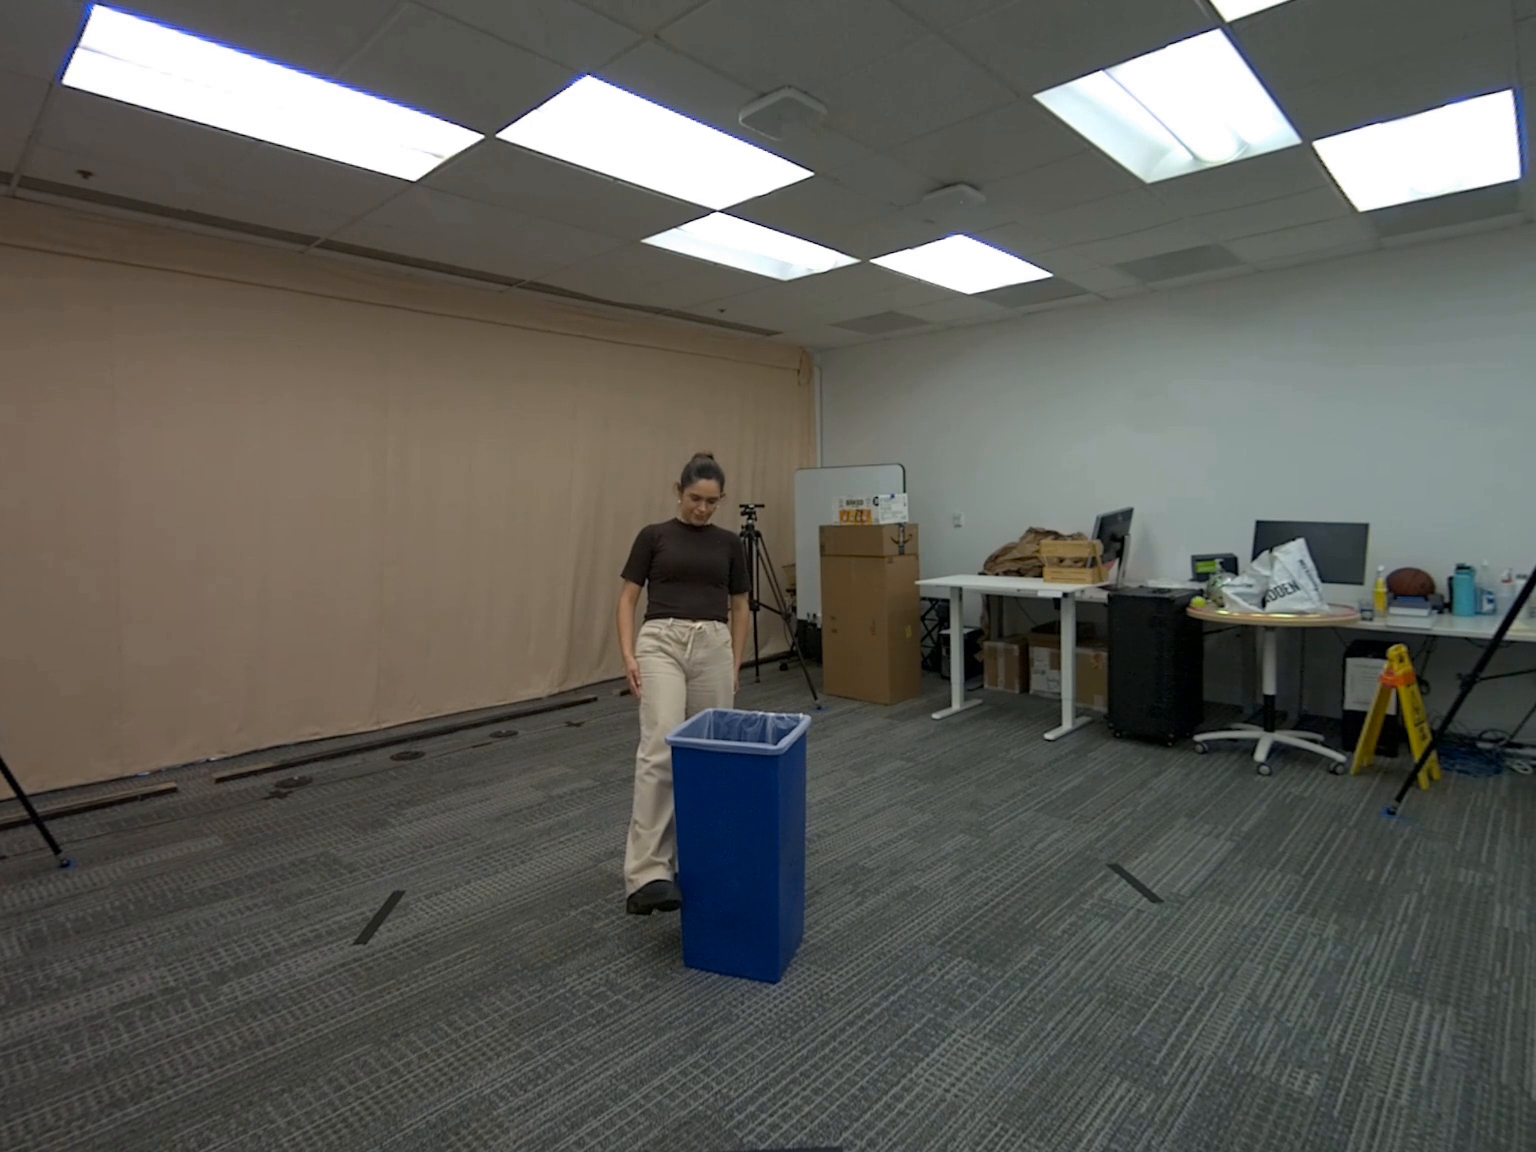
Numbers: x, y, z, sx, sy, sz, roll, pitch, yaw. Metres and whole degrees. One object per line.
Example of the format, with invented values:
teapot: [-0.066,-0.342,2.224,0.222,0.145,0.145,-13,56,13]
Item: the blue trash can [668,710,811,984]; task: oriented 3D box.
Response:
blue trash can: [-0.076,0.813,2.606,0.382,0.712,0.371,1,4,19]
